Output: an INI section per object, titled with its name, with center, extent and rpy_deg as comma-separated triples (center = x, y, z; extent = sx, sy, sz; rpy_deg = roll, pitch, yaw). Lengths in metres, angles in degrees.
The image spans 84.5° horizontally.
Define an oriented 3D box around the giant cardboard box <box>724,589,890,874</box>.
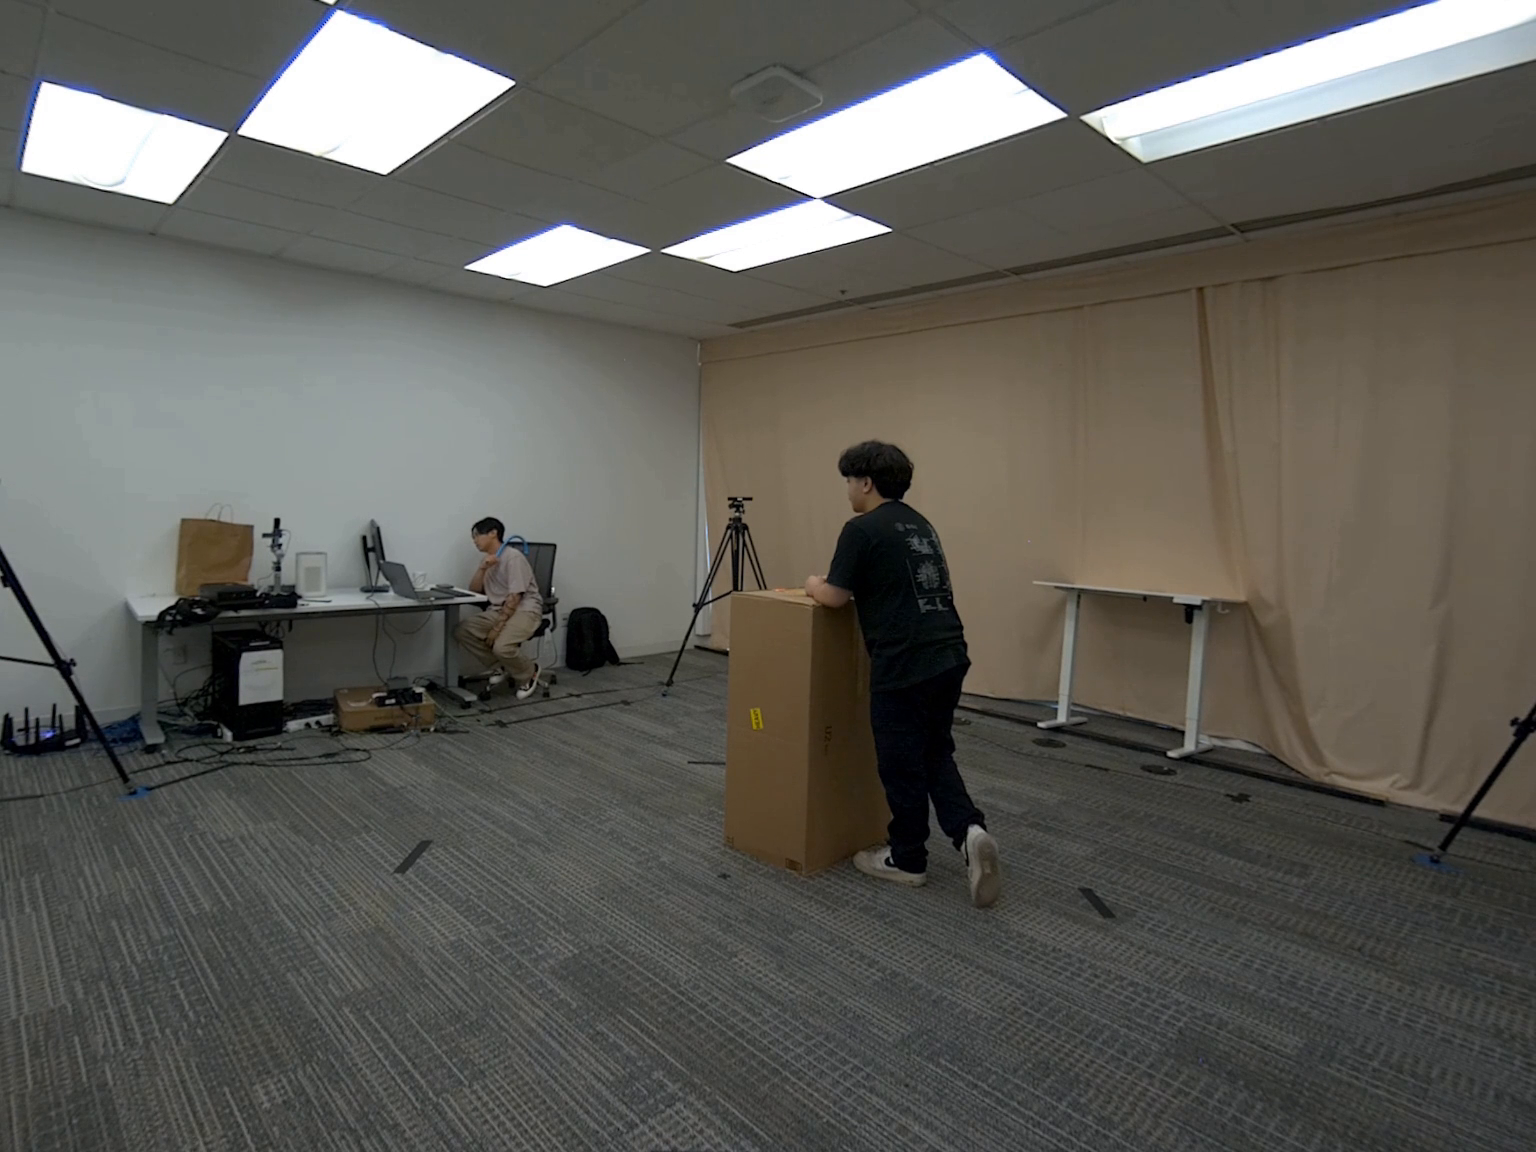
[giant cardboard box]
center = 0.172, 0.577, 3.439
extent = 0.458, 1.025, 0.570
rpy_deg = 4, 3, 44
